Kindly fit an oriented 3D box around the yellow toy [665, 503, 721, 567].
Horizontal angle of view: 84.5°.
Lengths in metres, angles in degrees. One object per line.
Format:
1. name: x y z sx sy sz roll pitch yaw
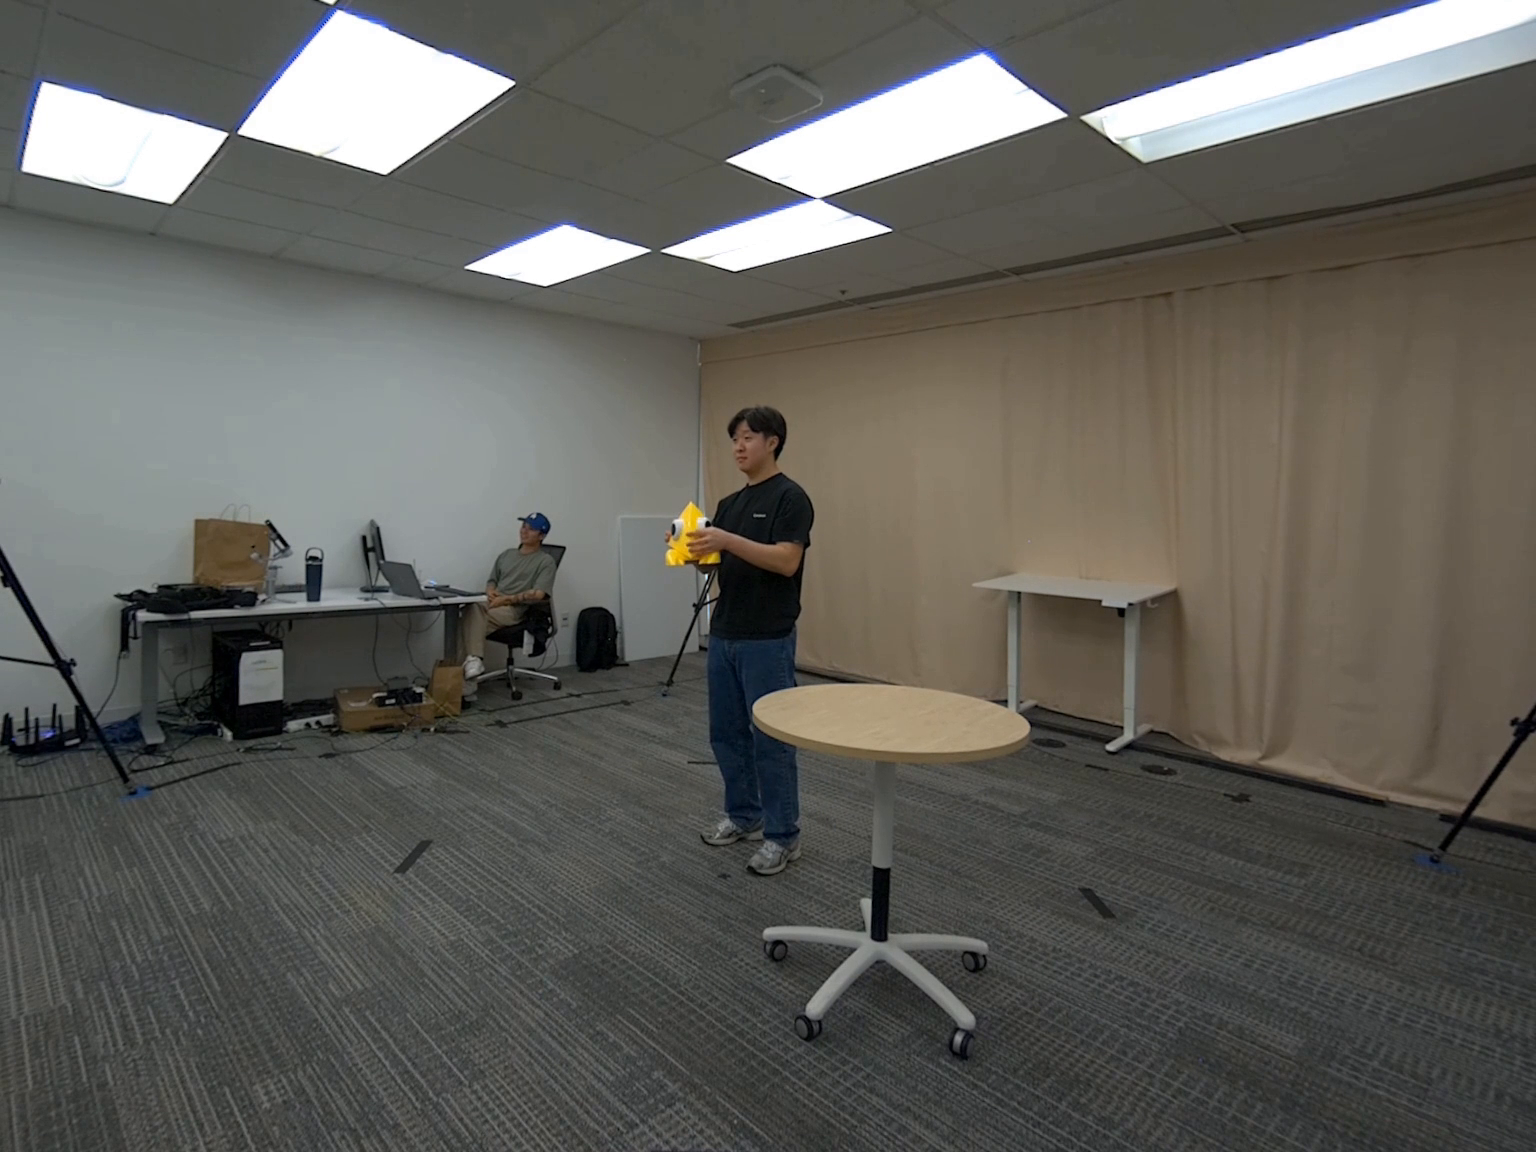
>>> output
1. yellow toy: -0.288 -0.160 3.084 0.205 0.230 0.193 -4 1 1
